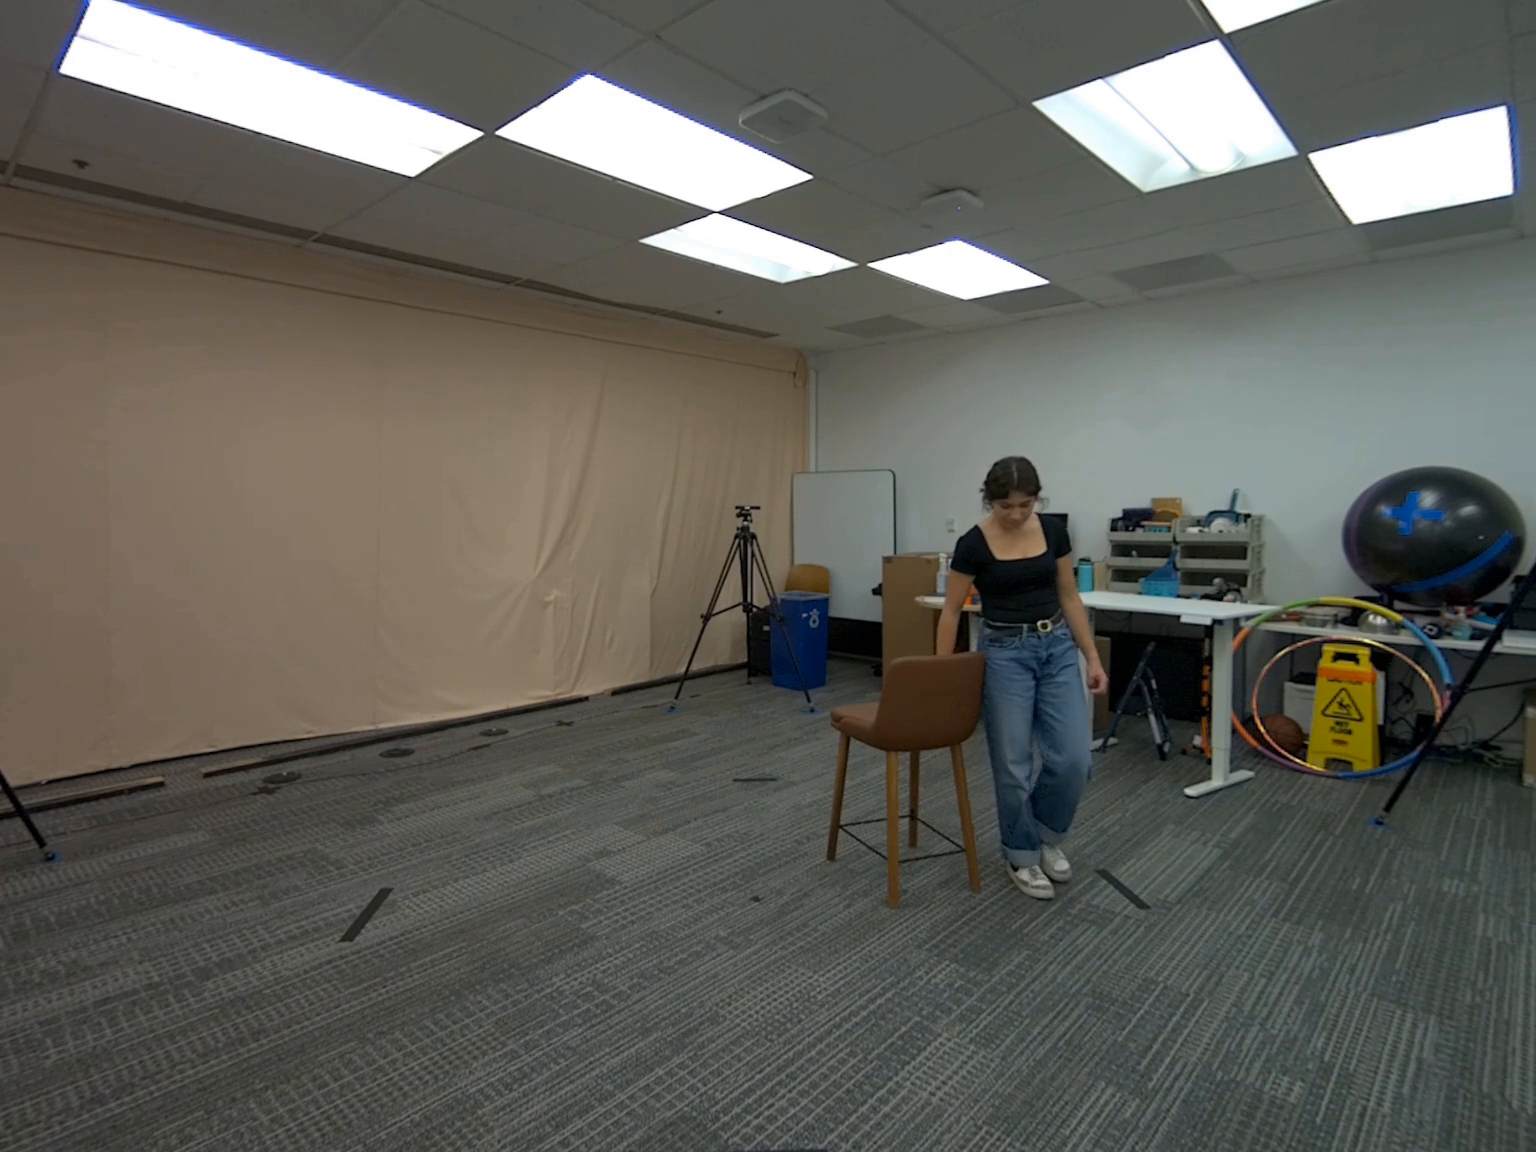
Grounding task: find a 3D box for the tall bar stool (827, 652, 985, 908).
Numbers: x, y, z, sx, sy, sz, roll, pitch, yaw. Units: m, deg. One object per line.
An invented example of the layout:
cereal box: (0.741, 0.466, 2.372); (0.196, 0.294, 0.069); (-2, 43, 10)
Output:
tall bar stool: (0.513, 0.697, 3.152); (0.446, 0.887, 0.479); (-1, 5, -23)
